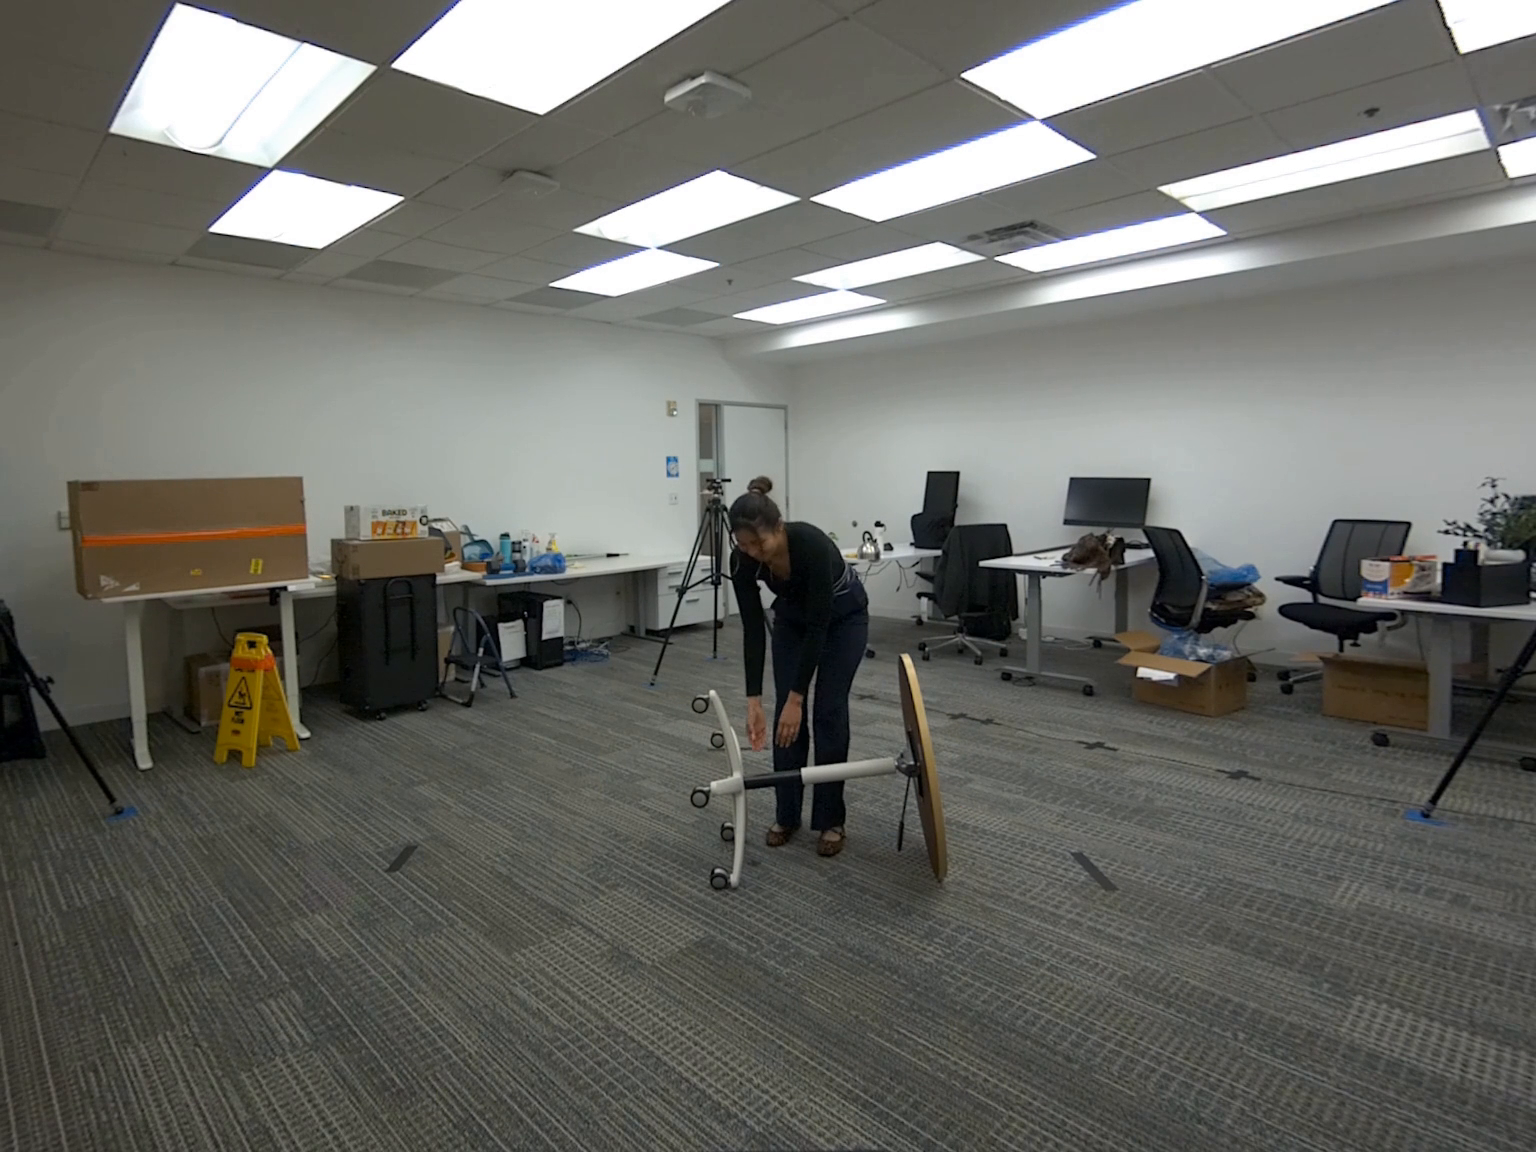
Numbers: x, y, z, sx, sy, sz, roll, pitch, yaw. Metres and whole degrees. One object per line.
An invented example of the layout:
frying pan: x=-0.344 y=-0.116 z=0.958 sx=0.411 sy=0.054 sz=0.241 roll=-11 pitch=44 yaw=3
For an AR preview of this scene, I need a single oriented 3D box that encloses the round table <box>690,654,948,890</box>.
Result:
round table: x=0.163 y=0.714 z=3.074 sx=0.798 sy=0.761 sz=0.763 roll=-8 pitch=4 yaw=5
